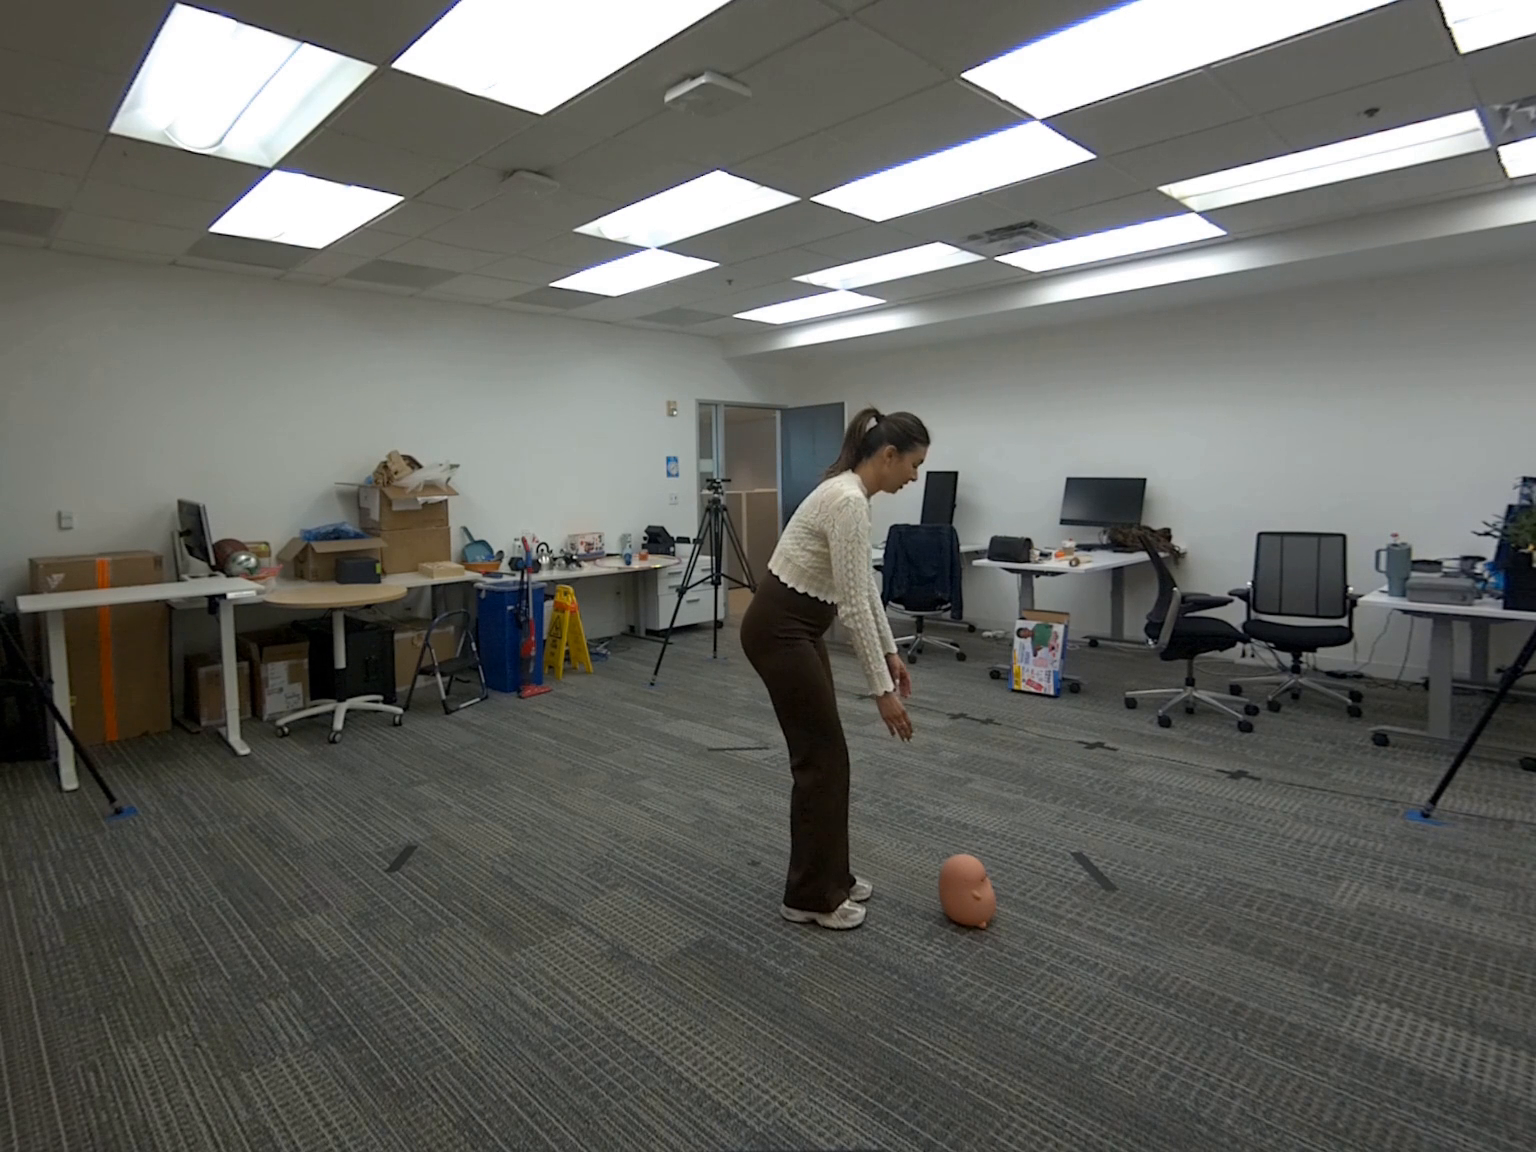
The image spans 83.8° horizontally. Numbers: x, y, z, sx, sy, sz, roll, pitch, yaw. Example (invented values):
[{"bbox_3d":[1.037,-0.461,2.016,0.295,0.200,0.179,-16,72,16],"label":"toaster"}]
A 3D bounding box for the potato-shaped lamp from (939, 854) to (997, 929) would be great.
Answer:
[{"bbox_3d":[0.624,0.975,2.686,0.176,0.197,0.161,3,8,34],"label":"potato-shaped lamp"}]
